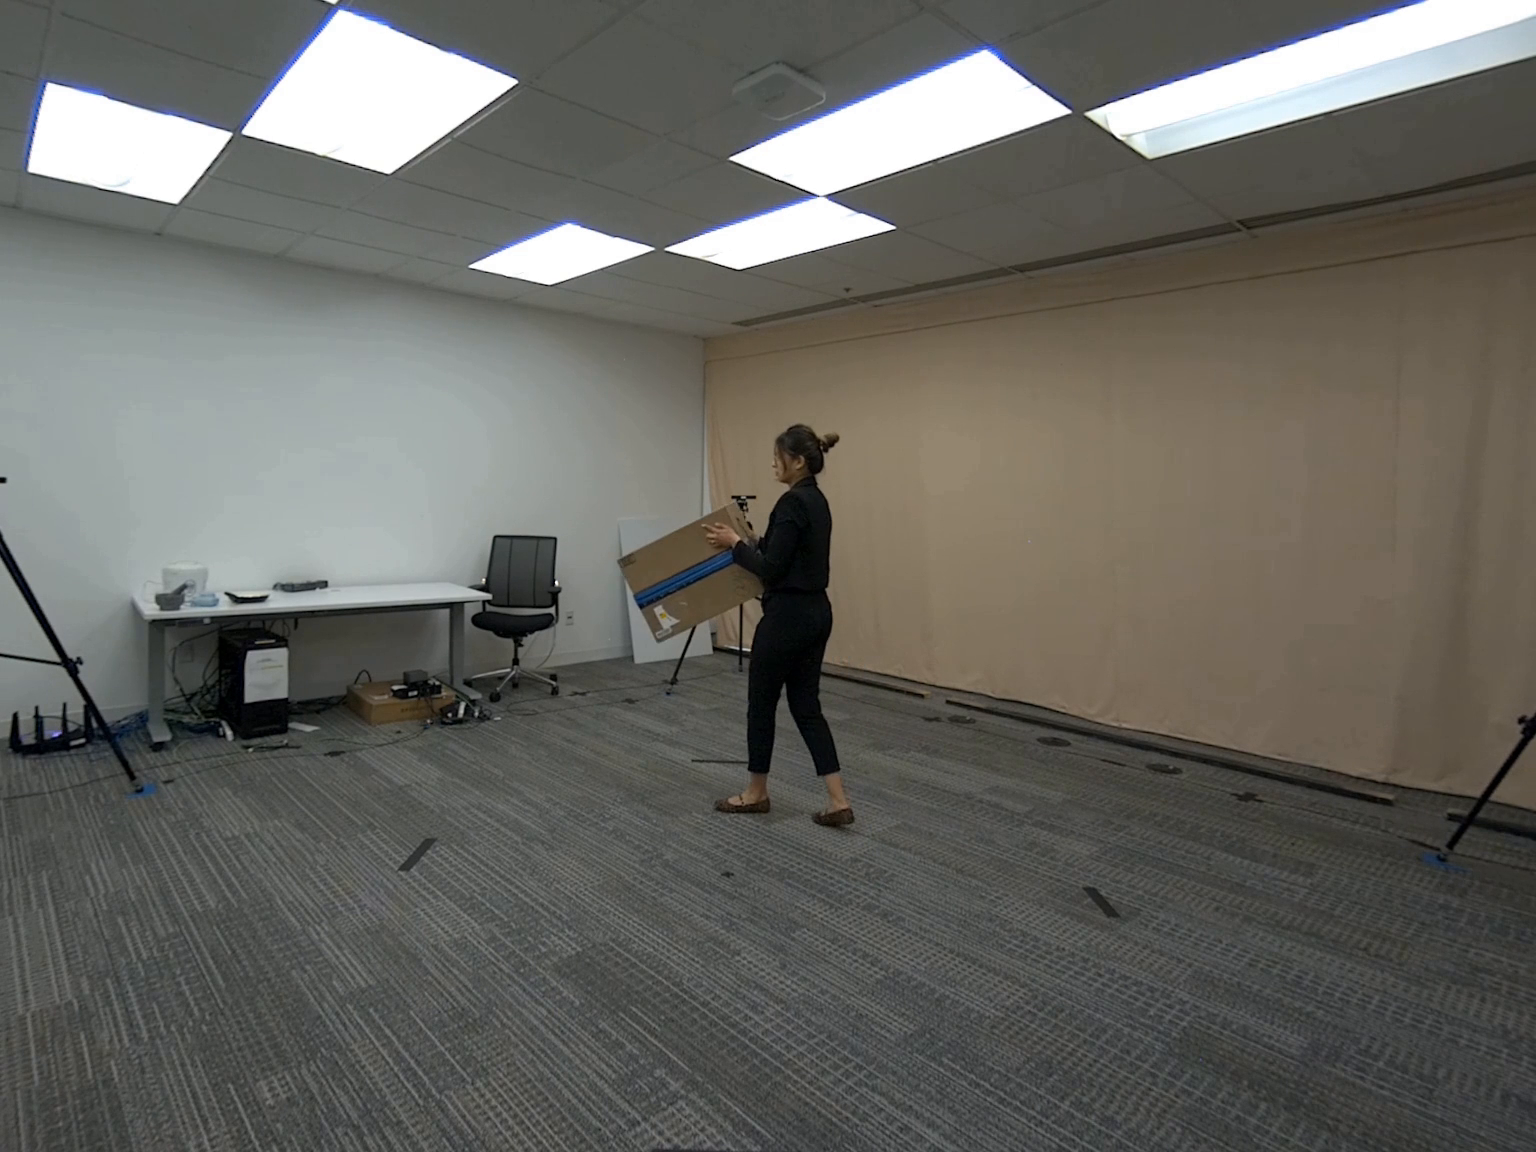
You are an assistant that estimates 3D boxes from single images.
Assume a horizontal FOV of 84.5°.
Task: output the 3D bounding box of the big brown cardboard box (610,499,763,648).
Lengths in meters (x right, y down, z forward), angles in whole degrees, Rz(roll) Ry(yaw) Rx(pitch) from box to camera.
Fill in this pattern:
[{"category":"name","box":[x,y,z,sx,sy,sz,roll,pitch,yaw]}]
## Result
[{"category":"big brown cardboard box","box":[-0.325,-0.018,3.782,0.592,0.417,0.232,-26,2,15]}]
